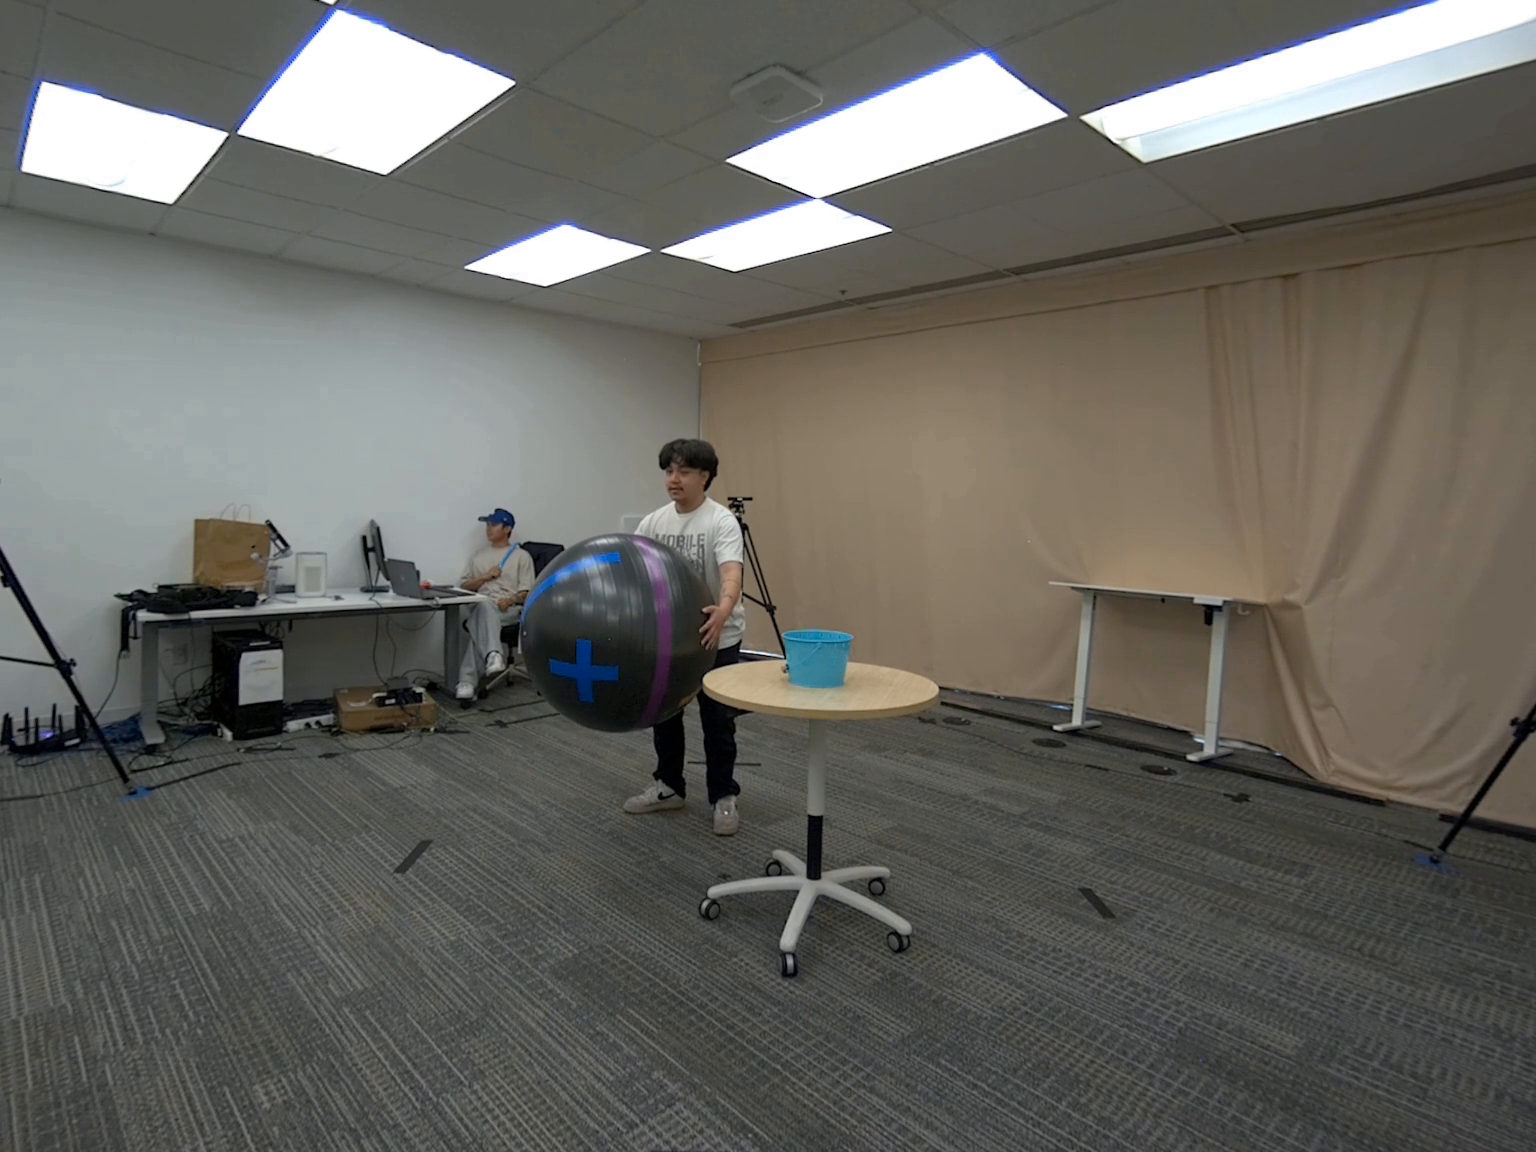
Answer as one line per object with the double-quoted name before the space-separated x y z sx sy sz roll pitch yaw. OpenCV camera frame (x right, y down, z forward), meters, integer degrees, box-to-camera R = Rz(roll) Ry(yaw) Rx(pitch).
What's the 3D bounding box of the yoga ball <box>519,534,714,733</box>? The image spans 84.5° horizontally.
"yoga ball" -0.591 0.218 3.246 0.757 0.756 0.761 1 4 -1
